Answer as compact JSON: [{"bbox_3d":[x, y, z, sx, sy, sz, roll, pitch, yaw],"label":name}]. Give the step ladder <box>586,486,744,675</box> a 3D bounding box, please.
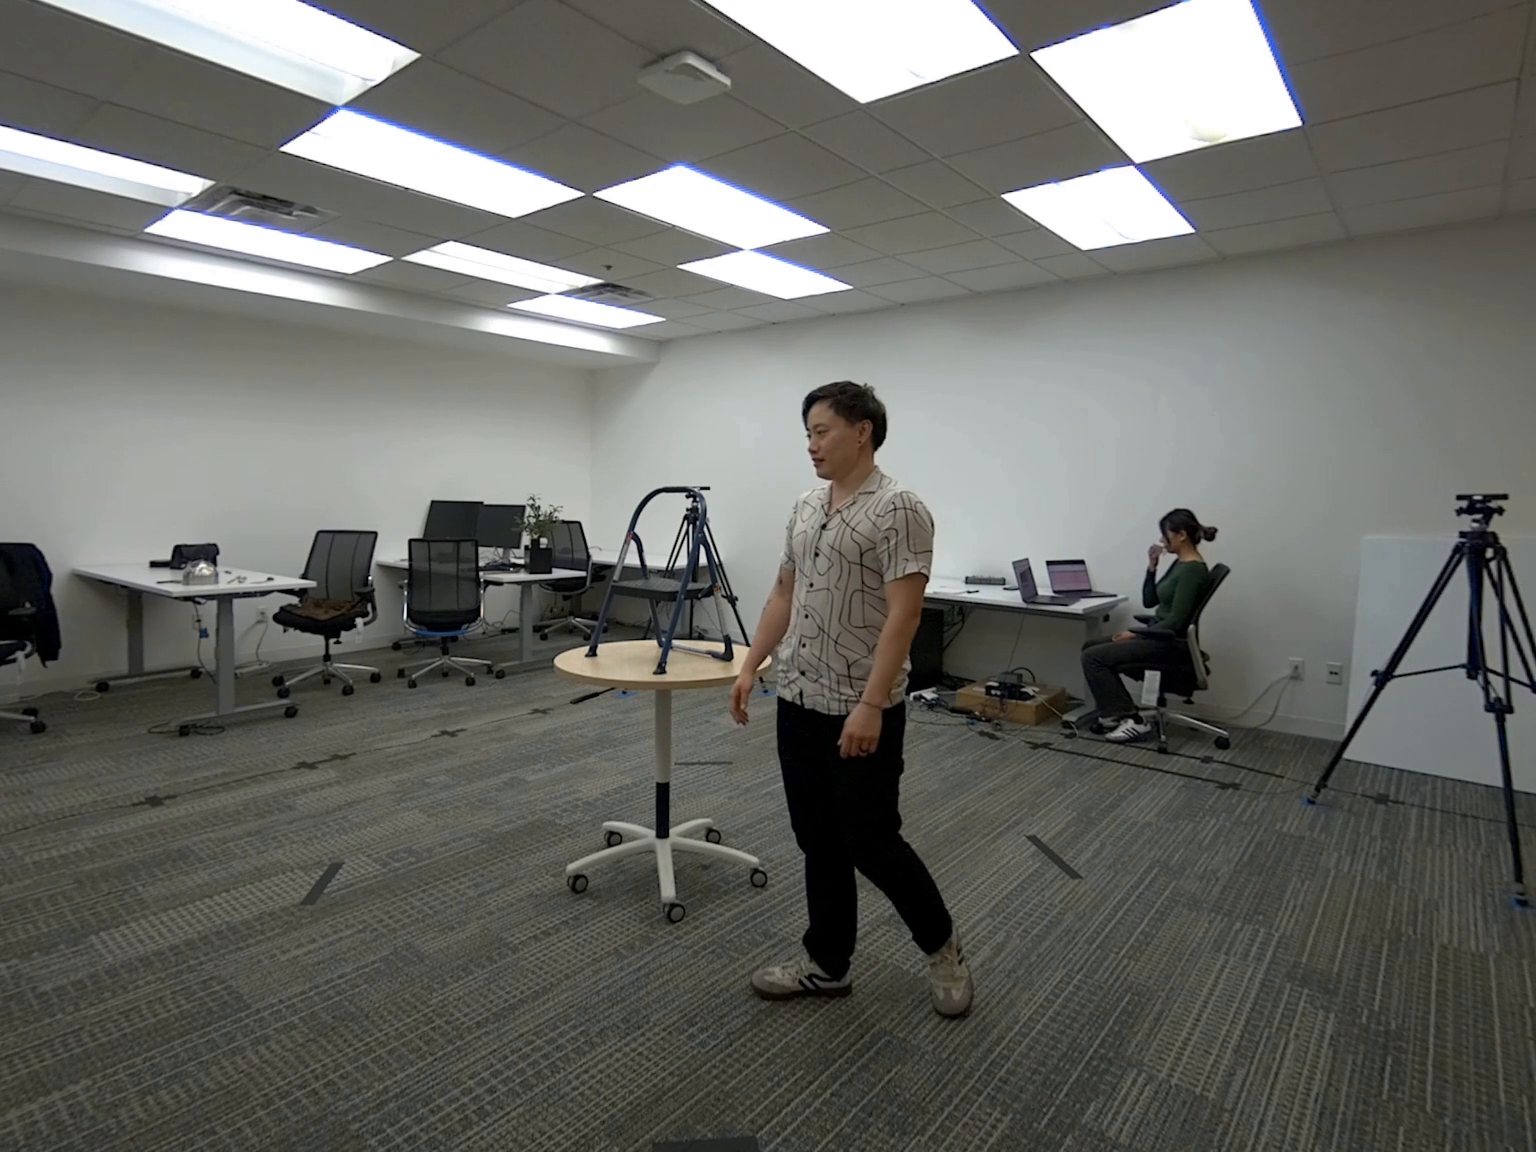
[{"bbox_3d":[-0.390,-0.011,2.981,0.339,0.604,0.445,-3,5,-45],"label":"step ladder"}]
